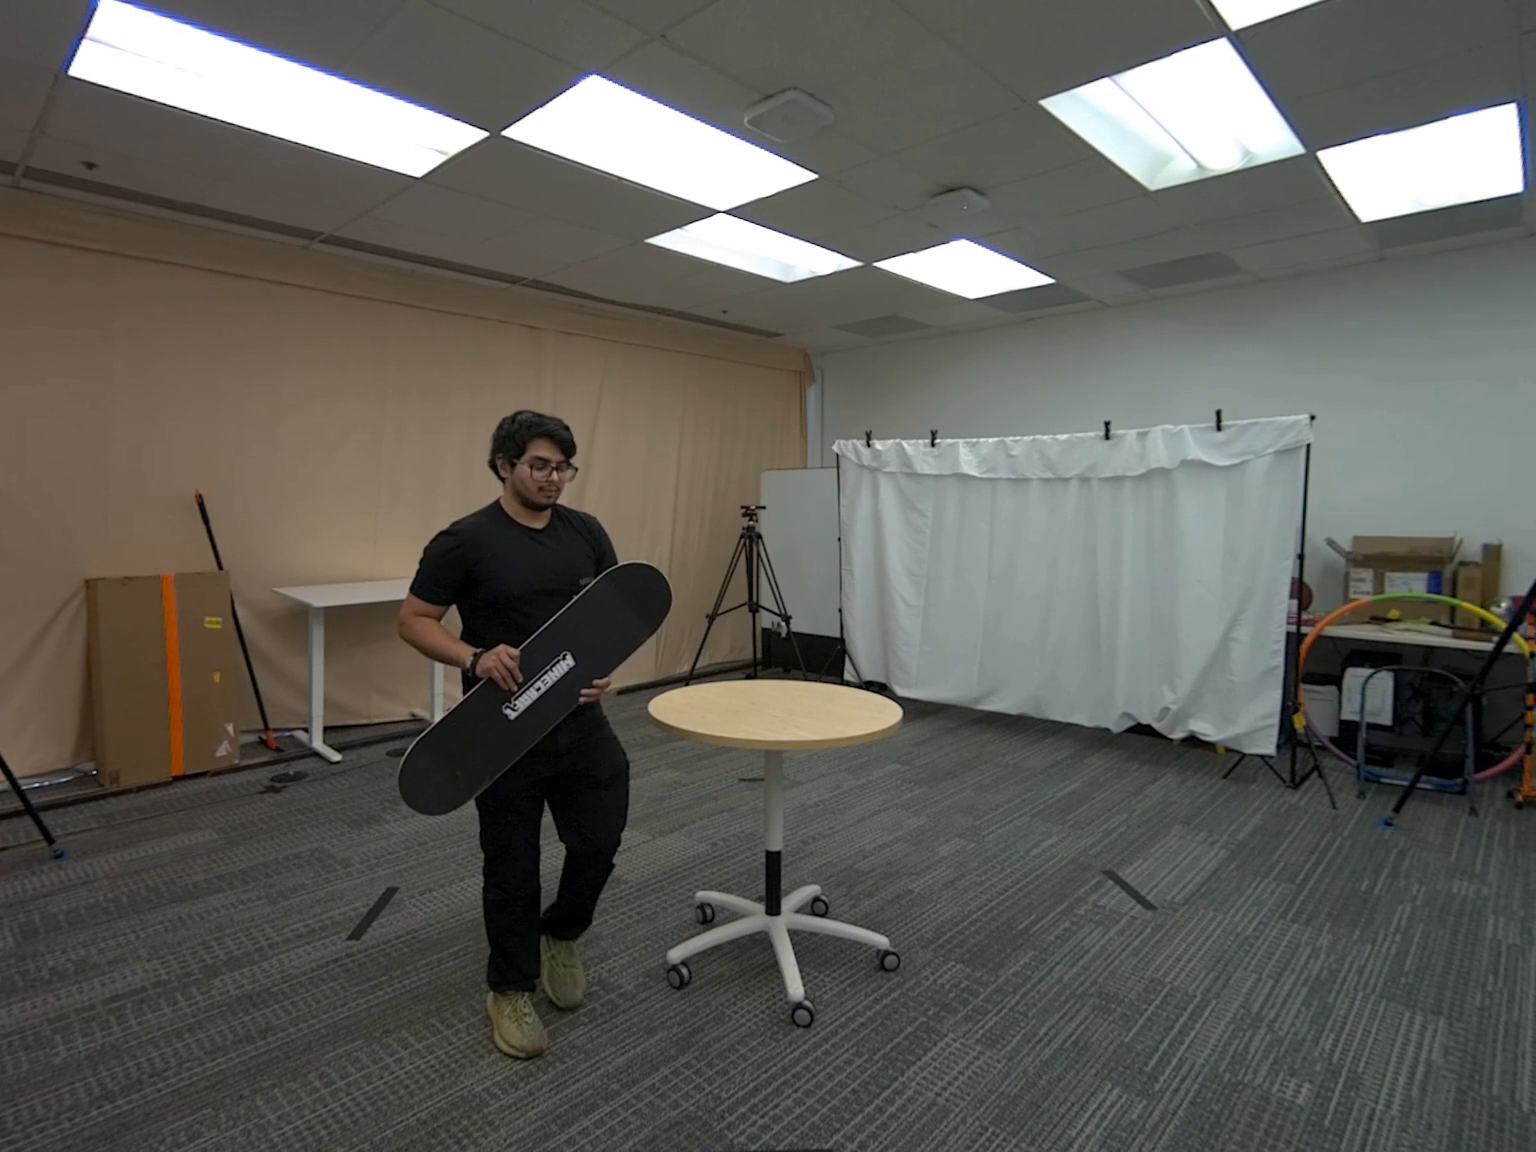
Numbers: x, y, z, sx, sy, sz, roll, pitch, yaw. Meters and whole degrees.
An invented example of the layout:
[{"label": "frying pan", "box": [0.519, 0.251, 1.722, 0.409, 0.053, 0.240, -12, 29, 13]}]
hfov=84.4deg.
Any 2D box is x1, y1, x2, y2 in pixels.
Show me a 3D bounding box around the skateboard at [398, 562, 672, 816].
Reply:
[{"label": "skateboard", "box": [-0.553, 0.262, 2.014, 0.783, 0.192, 0.111, -42, 8, -6]}]
